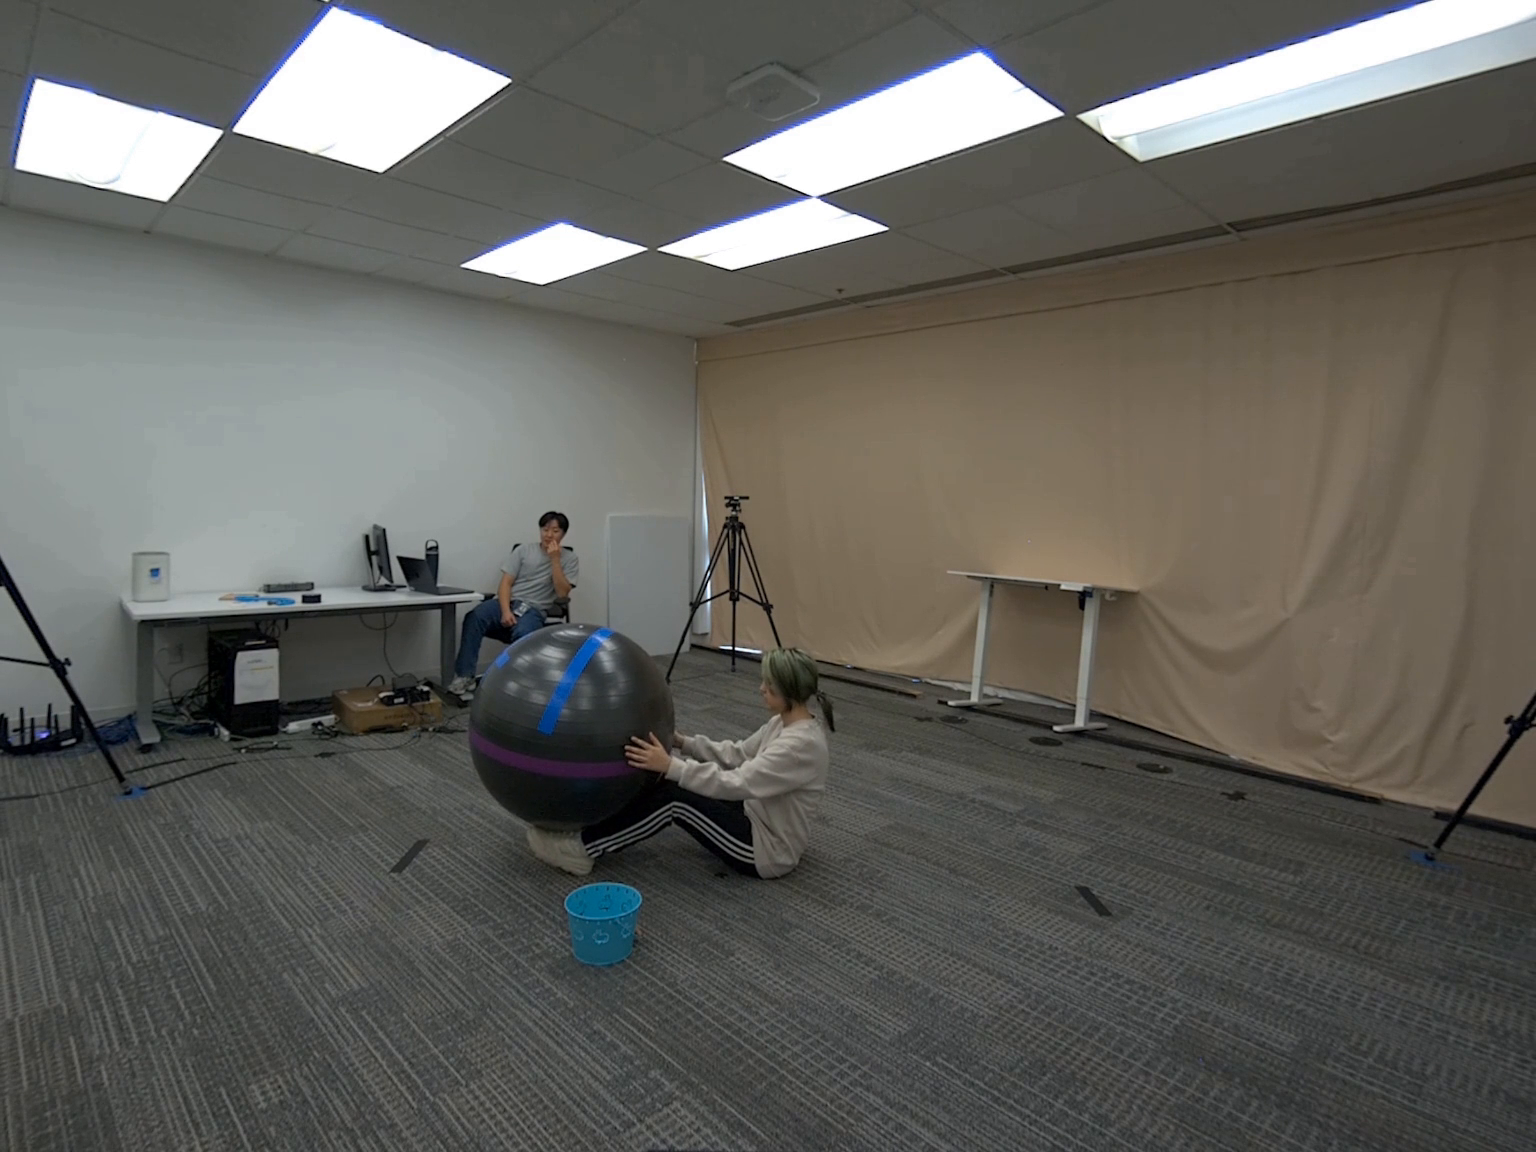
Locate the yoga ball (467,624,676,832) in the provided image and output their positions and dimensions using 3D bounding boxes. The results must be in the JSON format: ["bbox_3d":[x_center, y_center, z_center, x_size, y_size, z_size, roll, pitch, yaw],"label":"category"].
[{"bbox_3d":[-0.755,0.566,3.161,0.757,0.756,0.761,1,4,-1],"label":"yoga ball"}]
